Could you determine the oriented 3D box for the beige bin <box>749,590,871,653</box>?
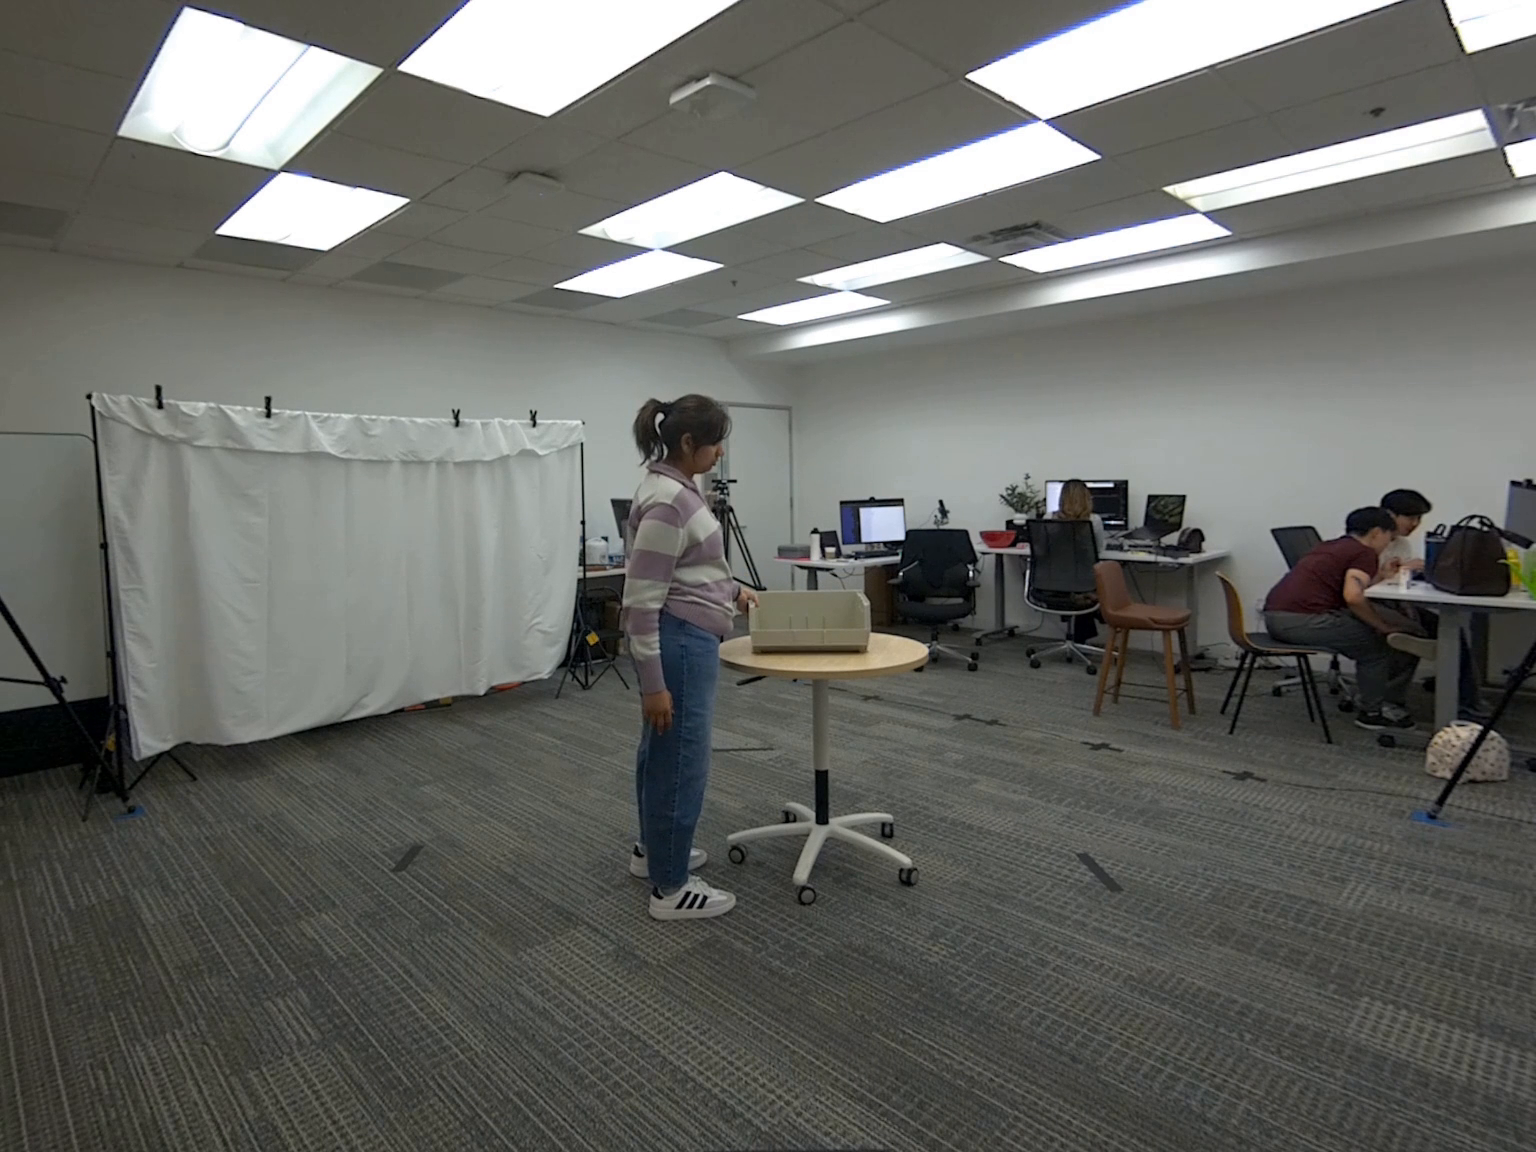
[{"bbox_3d":[0.152,0.170,3.133,0.424,0.188,0.377,-2,5,4],"label":"beige bin"}]
